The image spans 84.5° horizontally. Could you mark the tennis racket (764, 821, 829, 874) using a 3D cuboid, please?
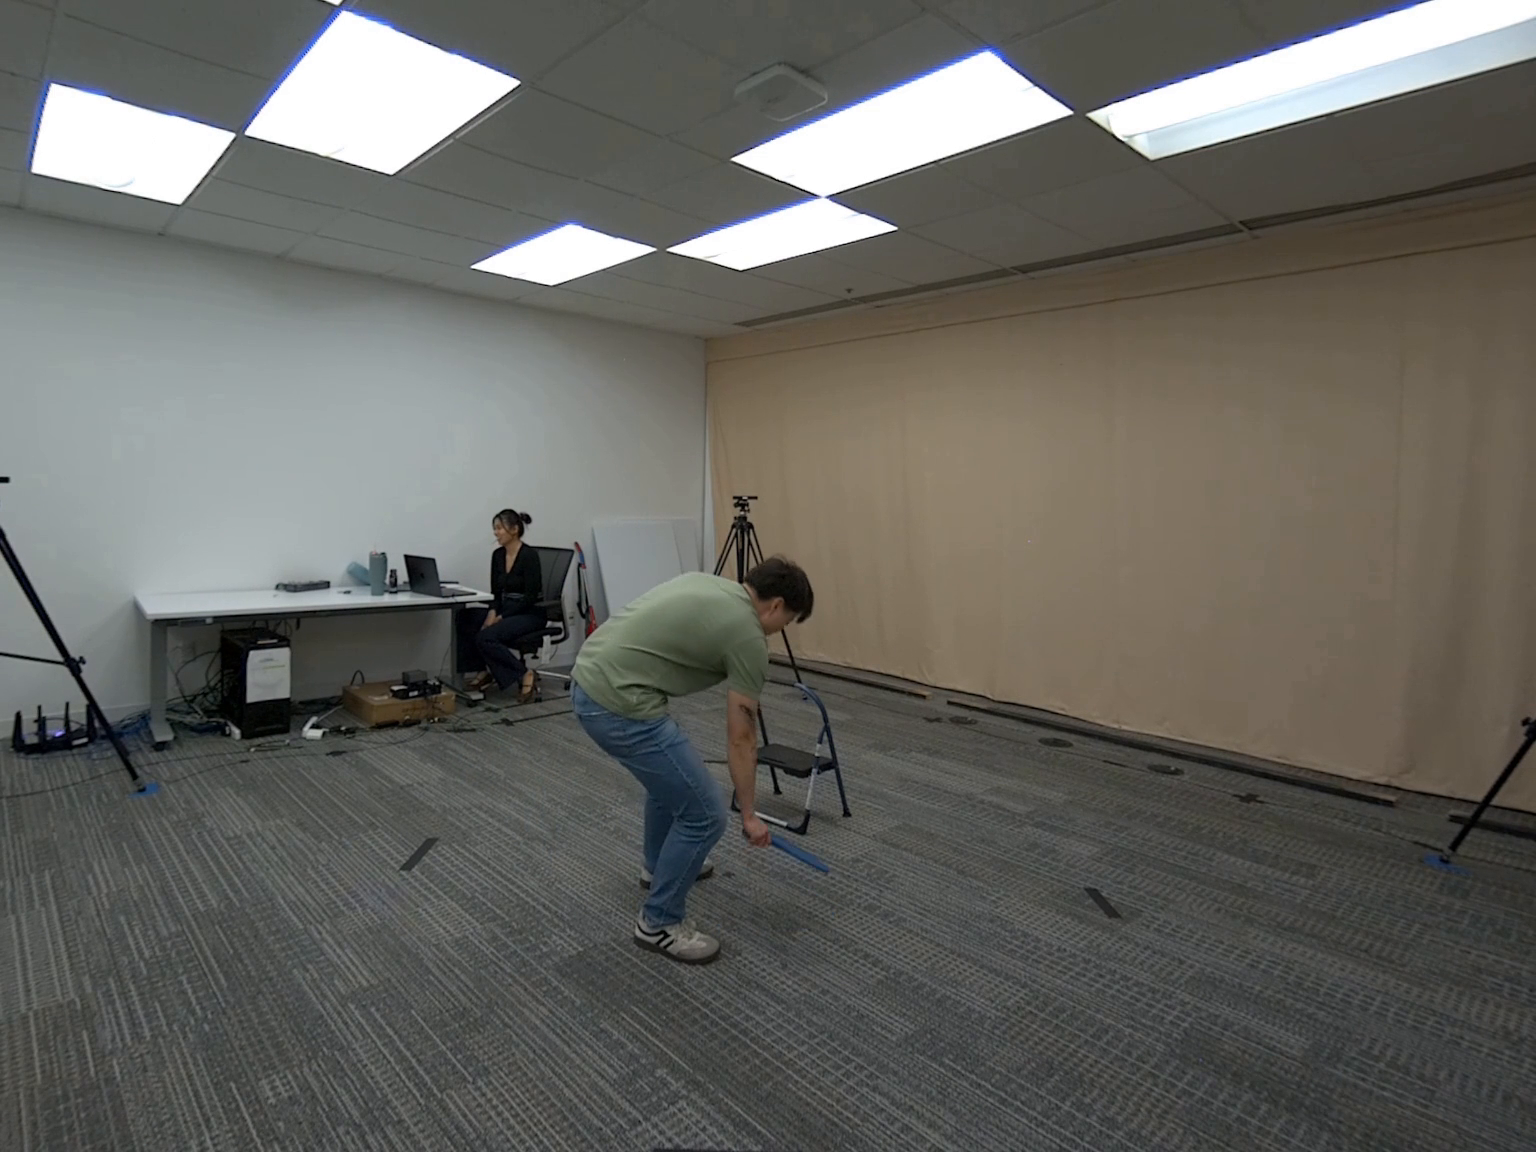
[{"bbox_3d":[0.058,0.892,2.767,0.220,0.032,0.419,22,-11,45],"label":"tennis racket"}]
